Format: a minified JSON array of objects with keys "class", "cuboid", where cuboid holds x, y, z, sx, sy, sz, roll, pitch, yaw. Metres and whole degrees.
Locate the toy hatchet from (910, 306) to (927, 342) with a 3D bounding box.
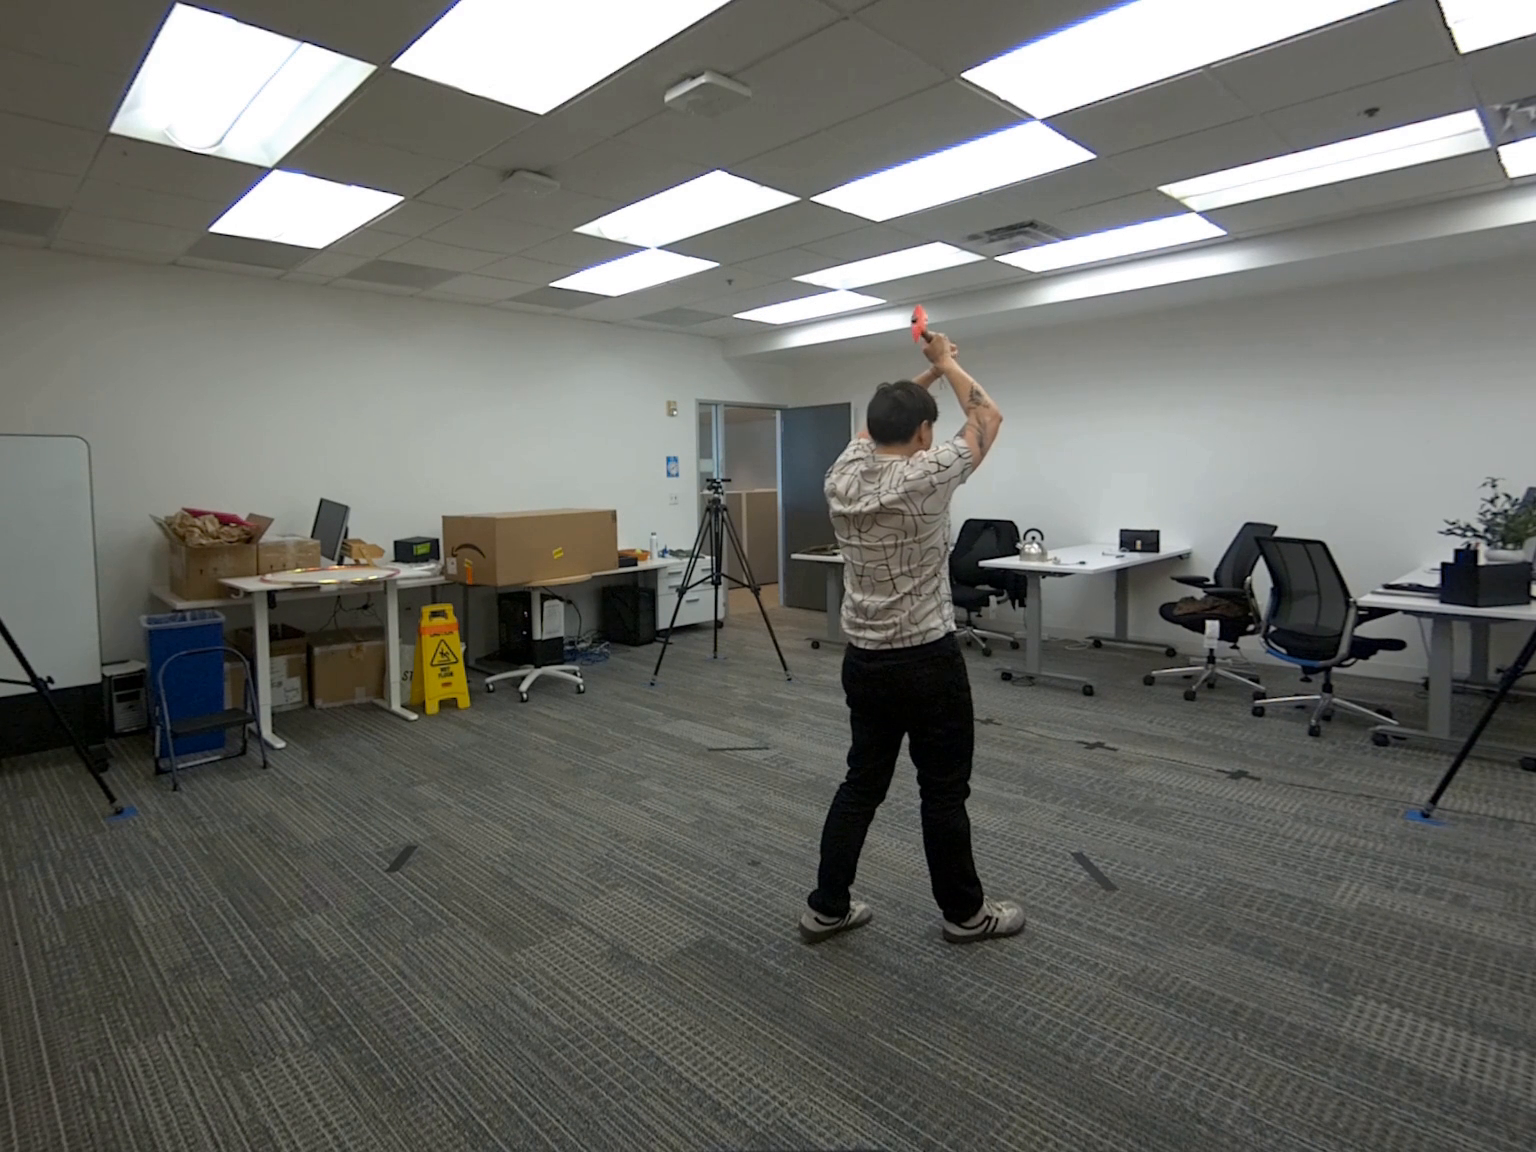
[{"class":"toy hatchet","cuboid":[0.514,-0.749,2.614,0.030,0.132,0.261,-13,-12,36]}]
